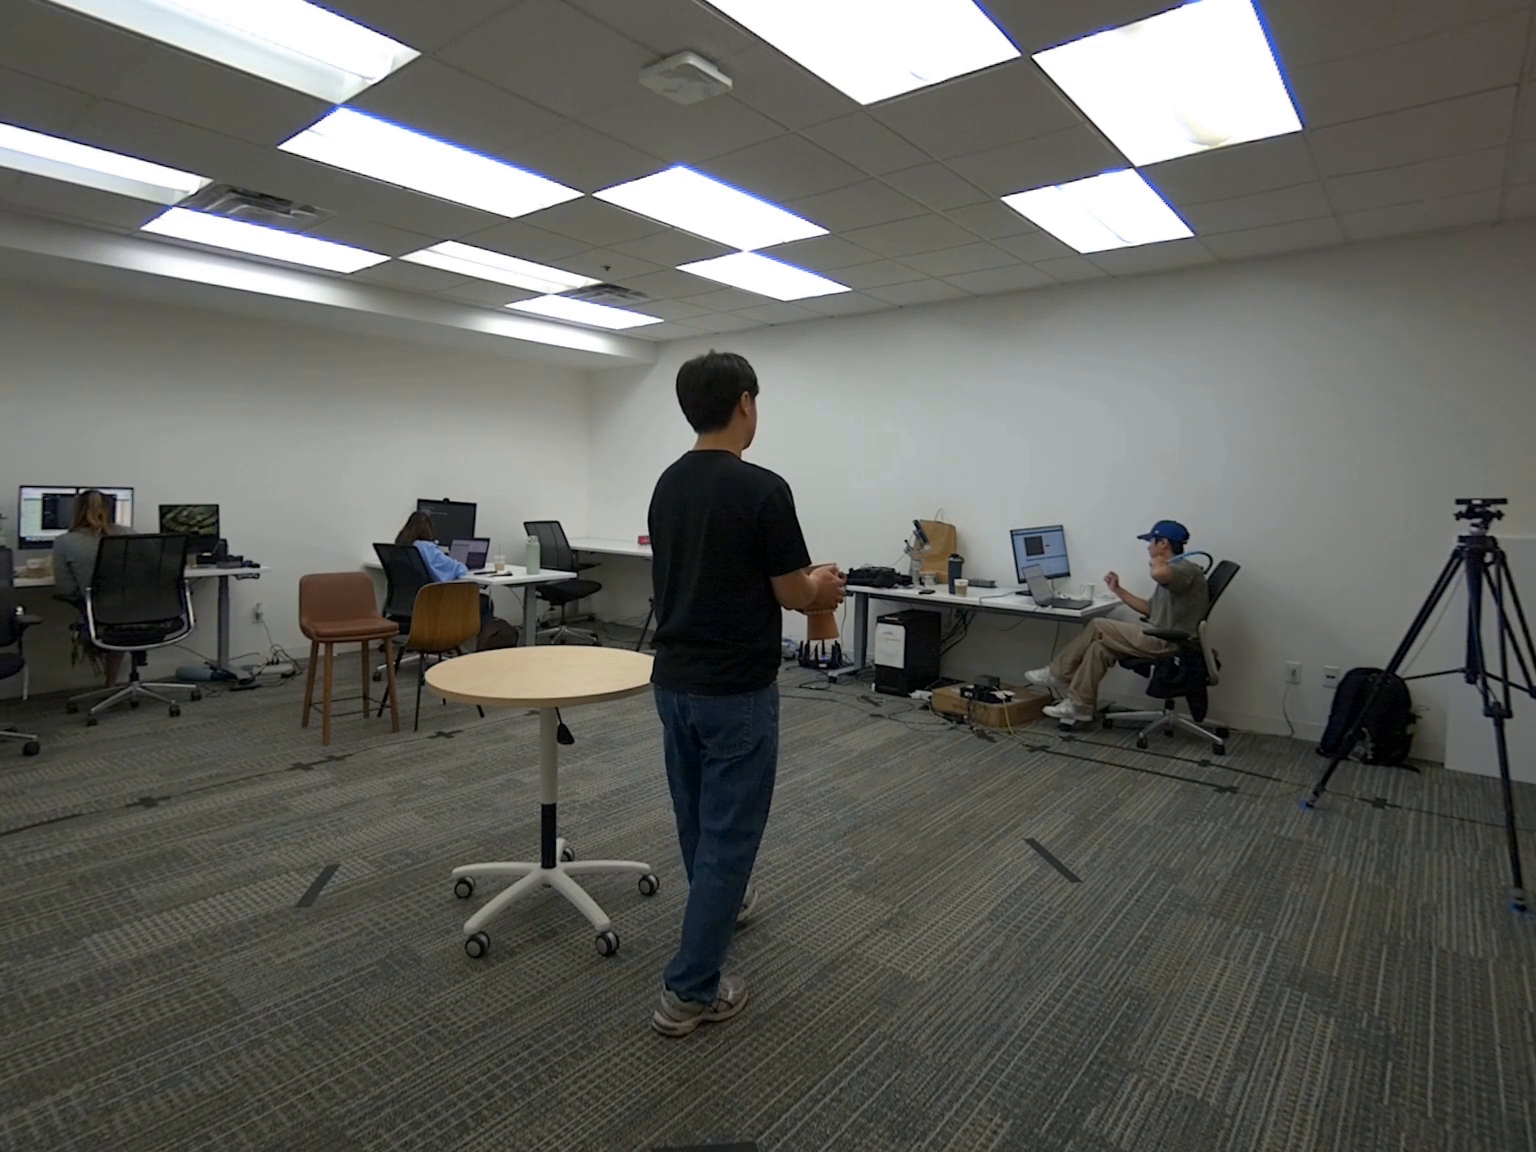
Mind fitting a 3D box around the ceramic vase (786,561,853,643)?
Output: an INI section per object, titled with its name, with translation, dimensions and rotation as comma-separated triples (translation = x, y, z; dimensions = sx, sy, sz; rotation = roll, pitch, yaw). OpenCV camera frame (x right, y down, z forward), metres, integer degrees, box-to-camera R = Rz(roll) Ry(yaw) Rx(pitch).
[ceramic vase]
translation = 0.147, 0.076, 2.540
dimensions = 0.162, 0.220, 0.132
rotation = -8, -2, 19
